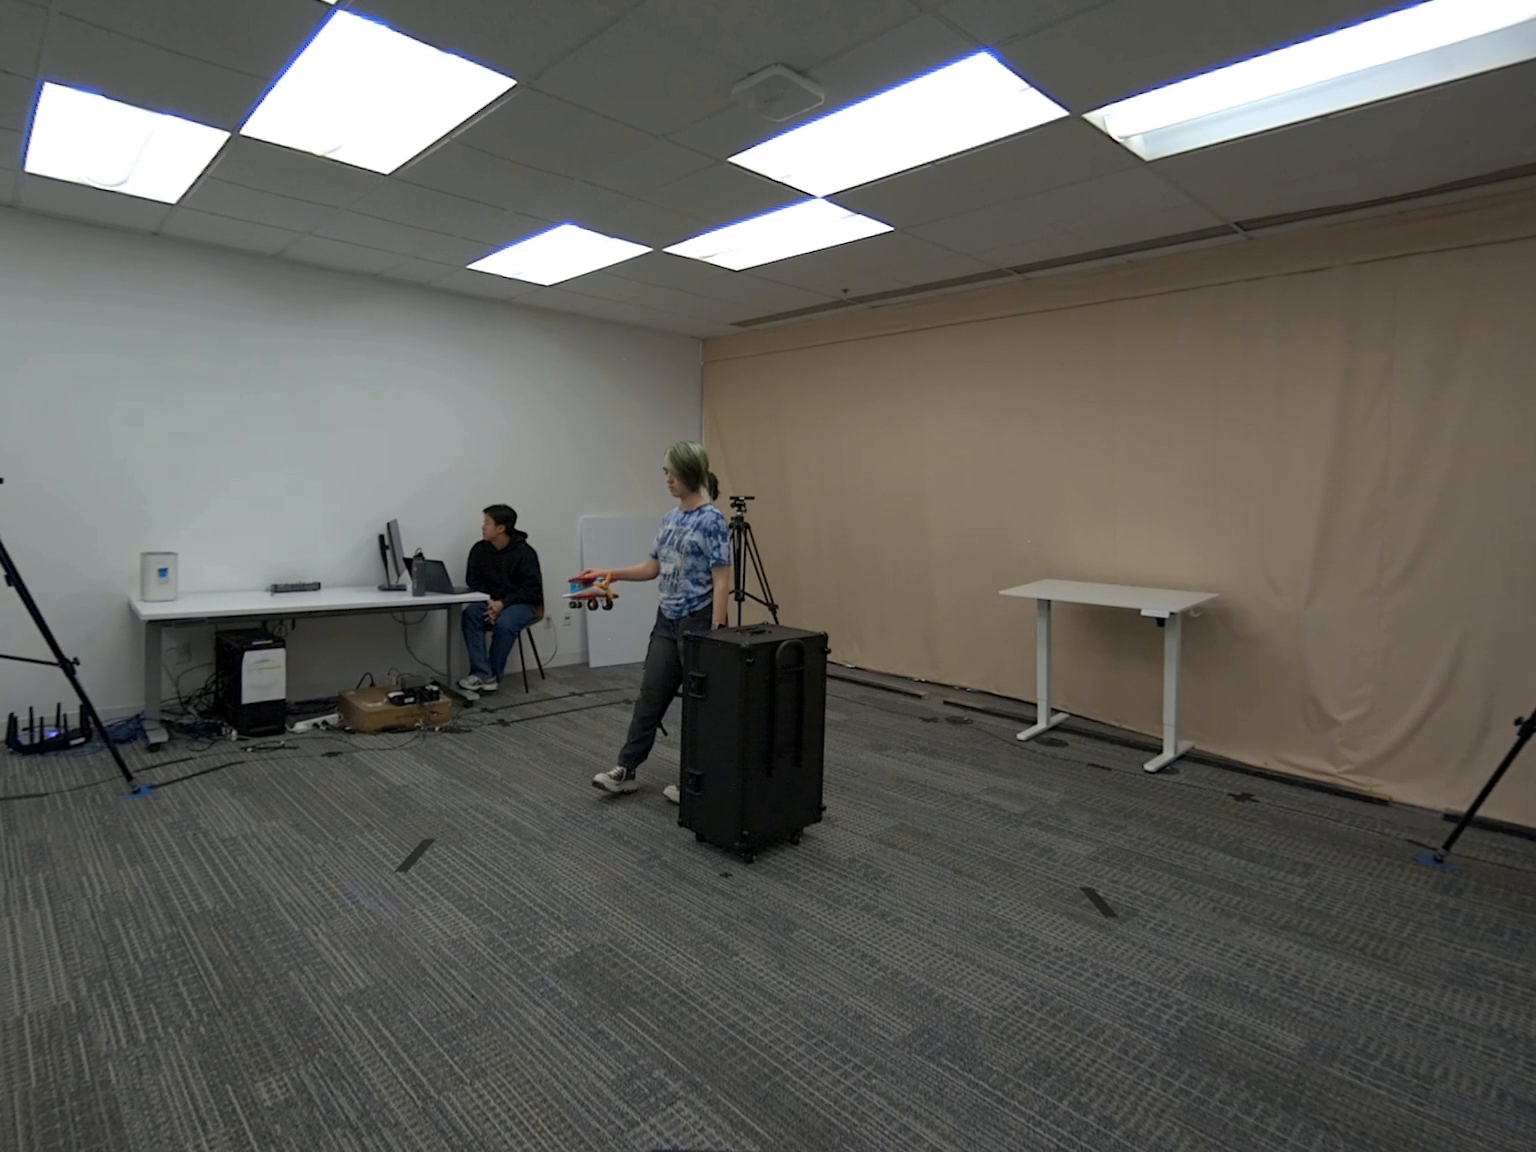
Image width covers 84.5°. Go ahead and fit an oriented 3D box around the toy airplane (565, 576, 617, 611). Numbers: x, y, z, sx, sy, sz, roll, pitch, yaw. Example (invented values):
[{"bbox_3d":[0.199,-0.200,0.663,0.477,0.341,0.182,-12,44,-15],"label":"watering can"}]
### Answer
[{"bbox_3d":[-0.839,0.075,3.848,0.262,0.156,0.248,2,0,11],"label":"toy airplane"}]
